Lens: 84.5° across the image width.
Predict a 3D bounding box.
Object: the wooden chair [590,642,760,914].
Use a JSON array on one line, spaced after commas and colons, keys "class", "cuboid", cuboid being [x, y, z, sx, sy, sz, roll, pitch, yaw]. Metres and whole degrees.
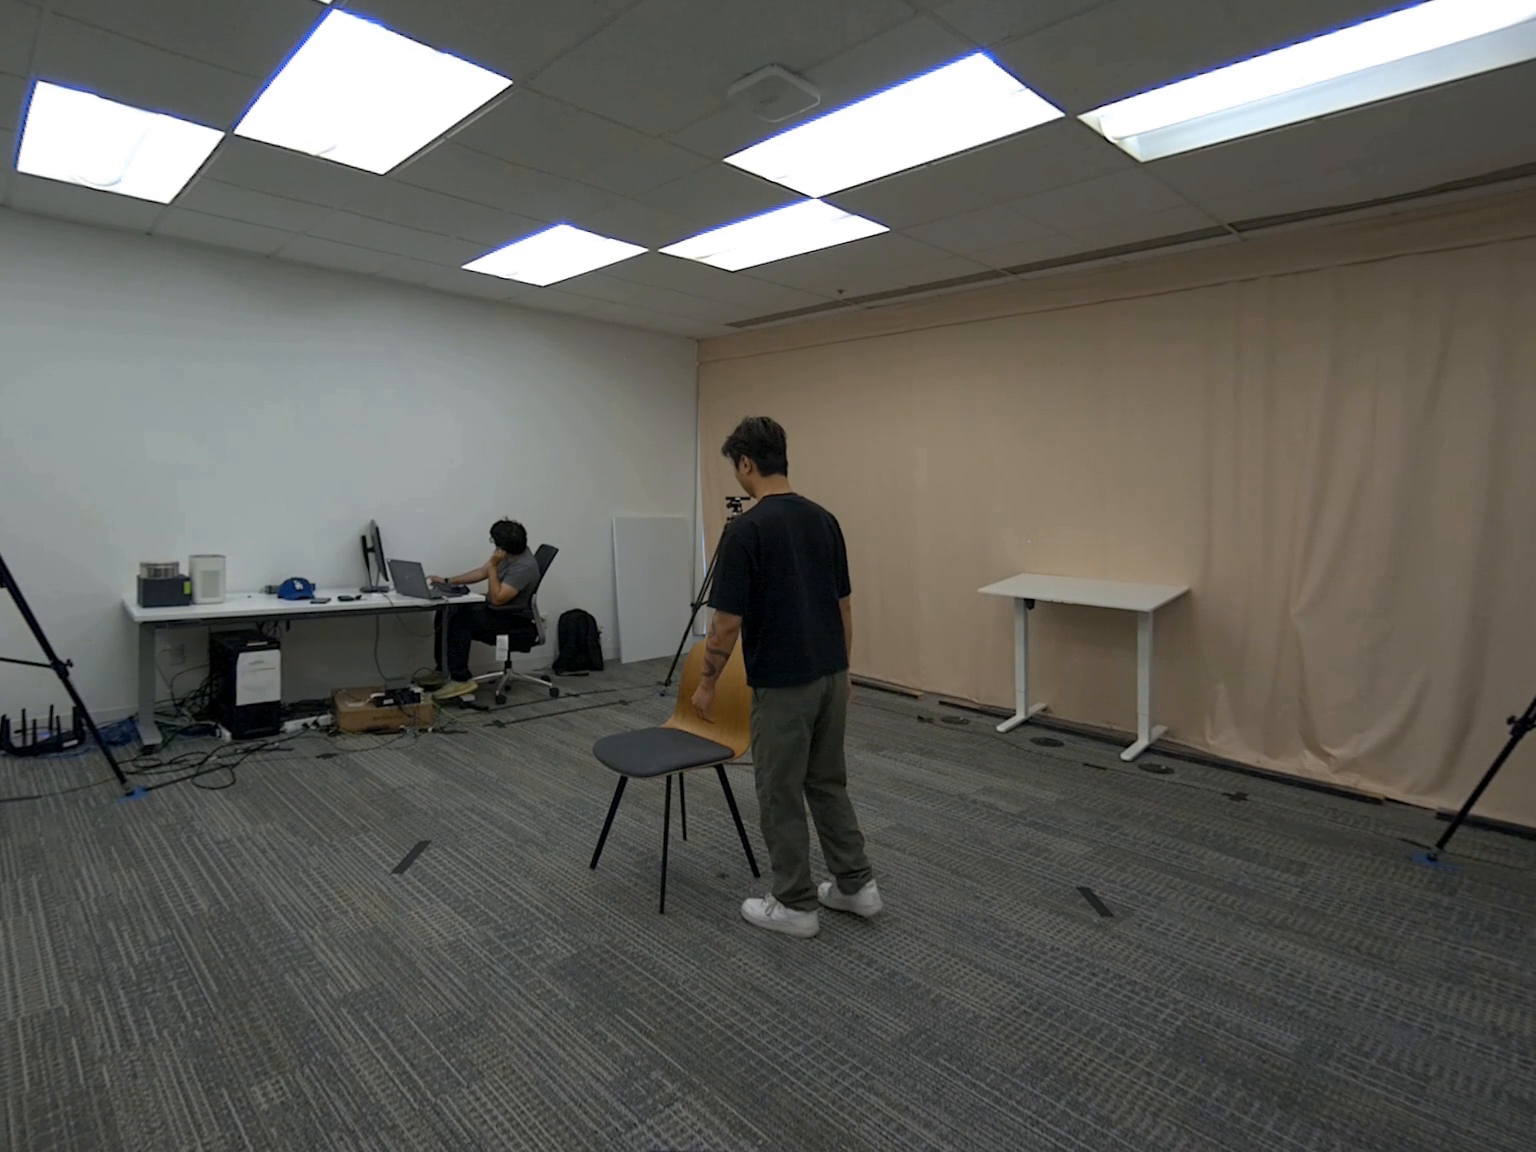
[{"class": "wooden chair", "cuboid": [-0.348, 0.678, 3.086, 0.510, 0.877, 0.490, 4, 1, -42]}]
